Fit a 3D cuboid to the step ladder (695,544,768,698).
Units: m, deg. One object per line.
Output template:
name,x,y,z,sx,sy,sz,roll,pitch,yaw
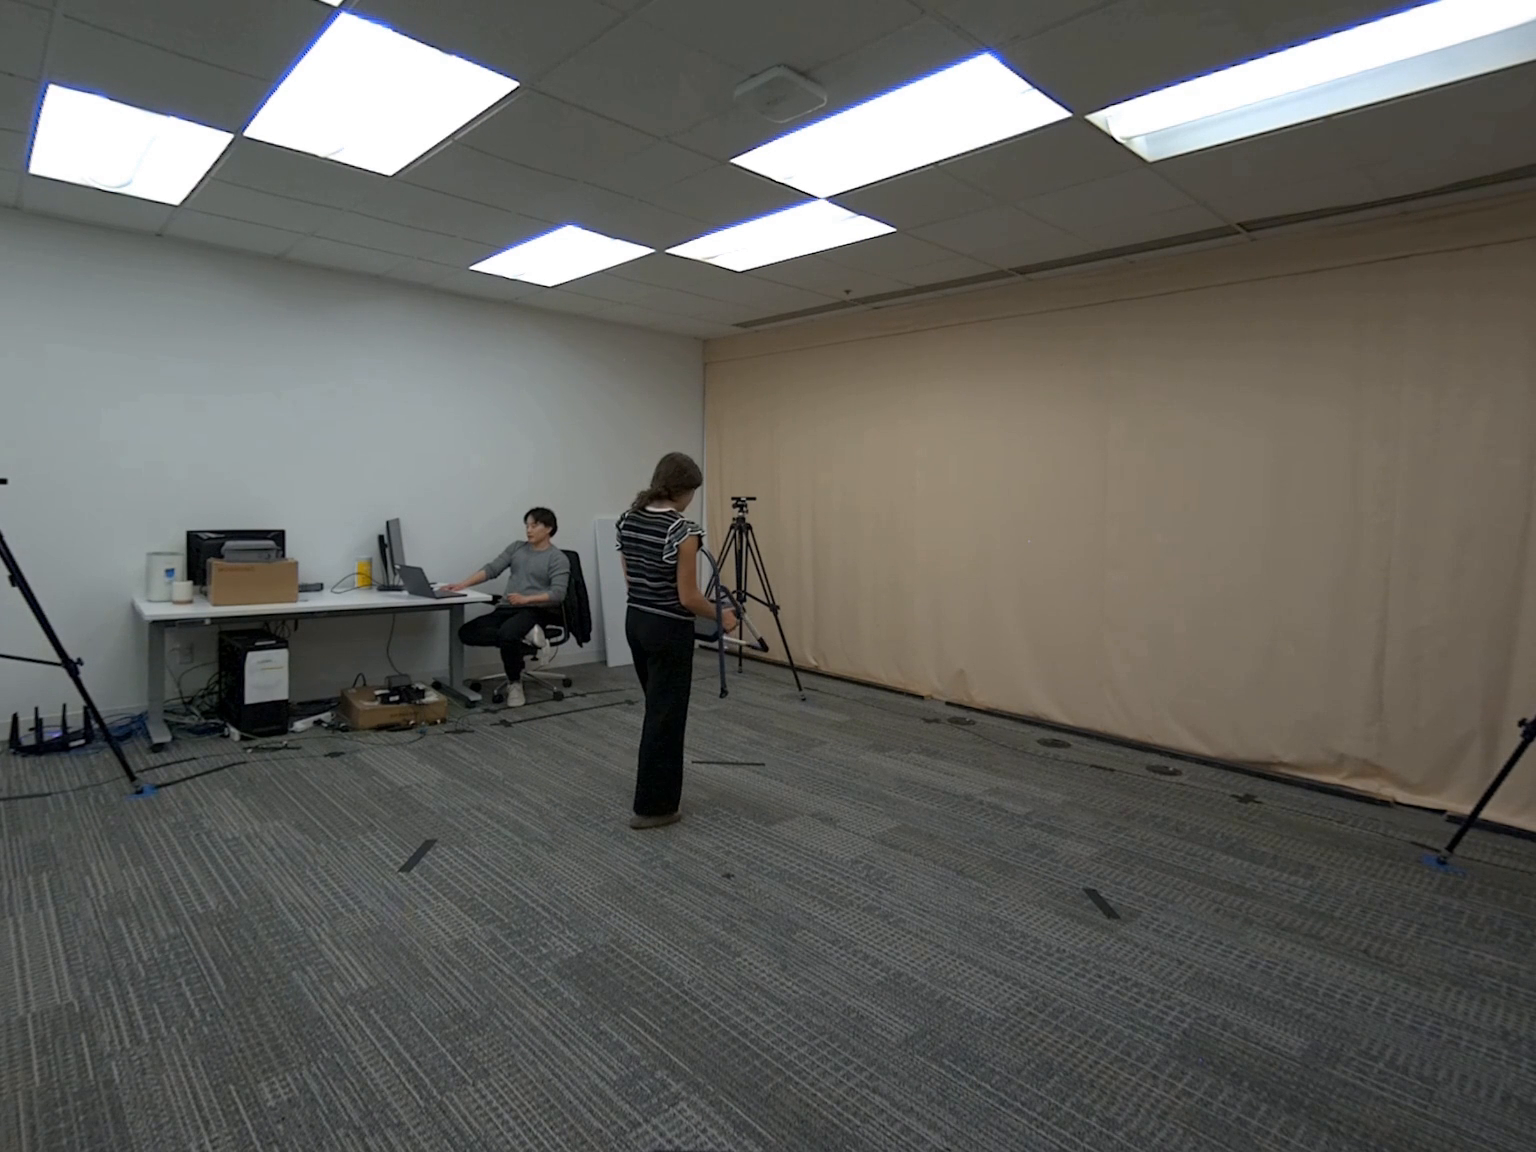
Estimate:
step ladder,-0.328,0.151,3.712,0.442,0.593,0.347,9,36,42
